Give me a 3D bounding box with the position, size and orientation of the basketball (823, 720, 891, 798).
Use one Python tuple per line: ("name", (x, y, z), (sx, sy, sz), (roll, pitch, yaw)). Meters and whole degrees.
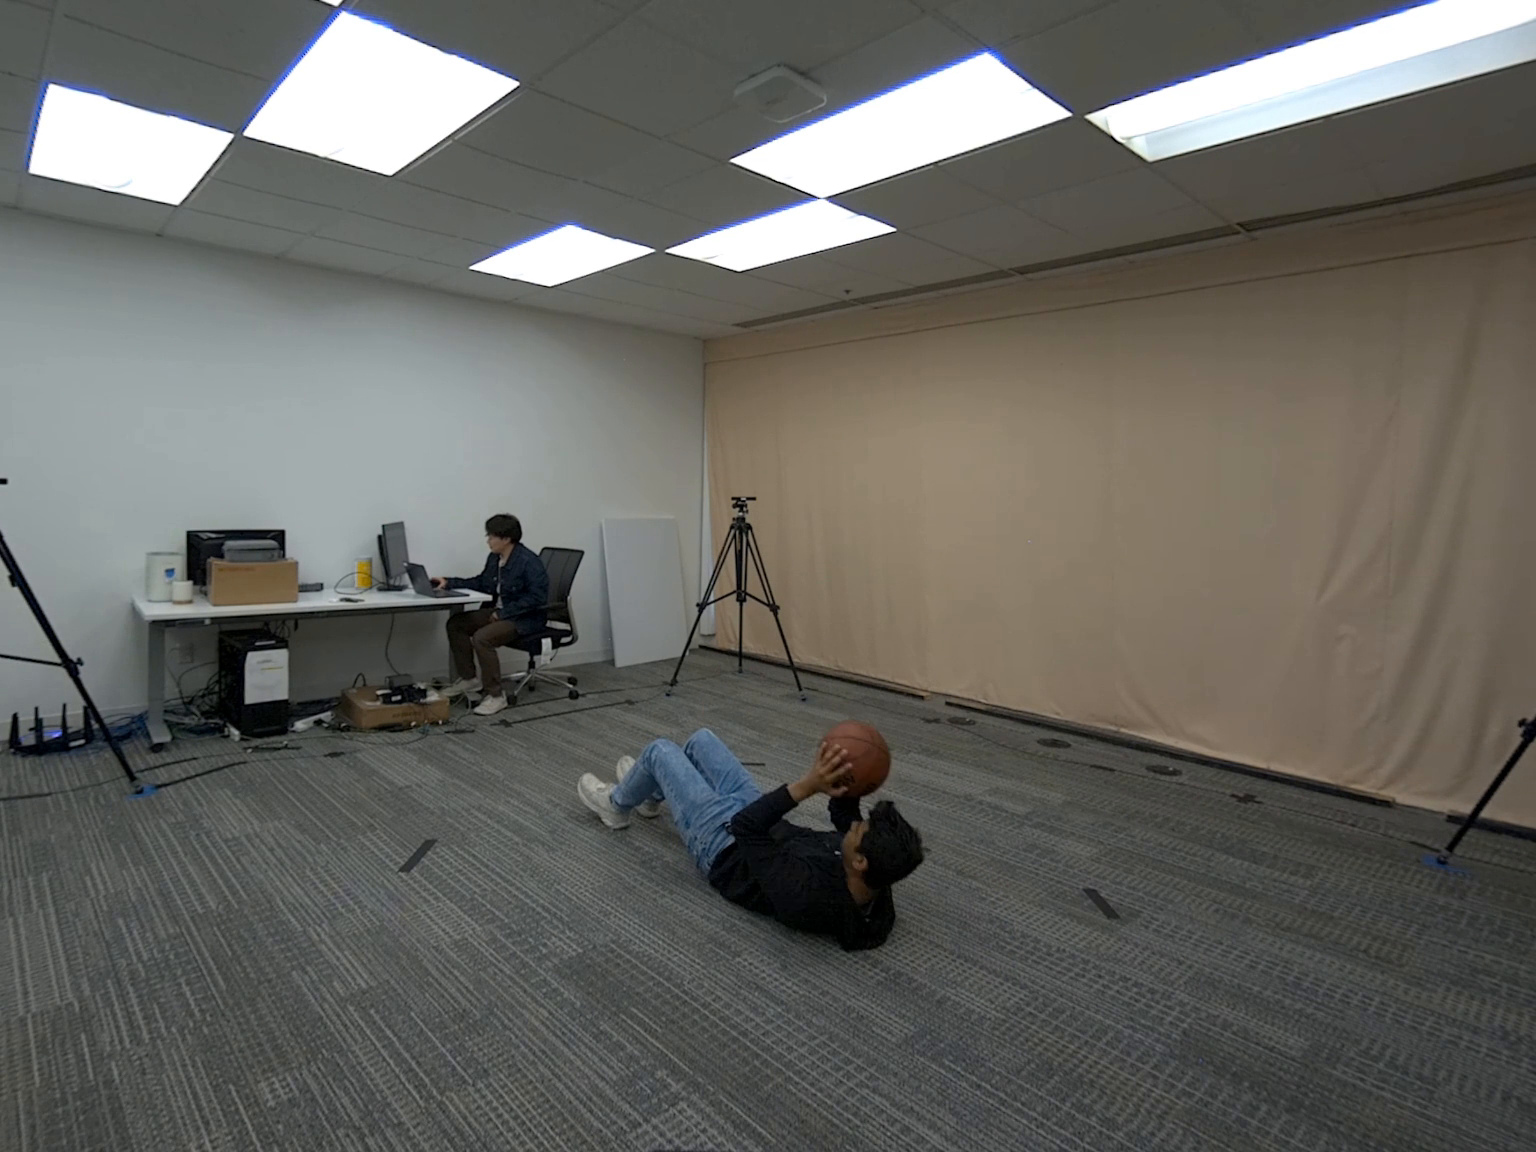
("basketball", (0.267, 0.594, 2.719), (0.236, 0.235, 0.237), (1, 4, -1))
